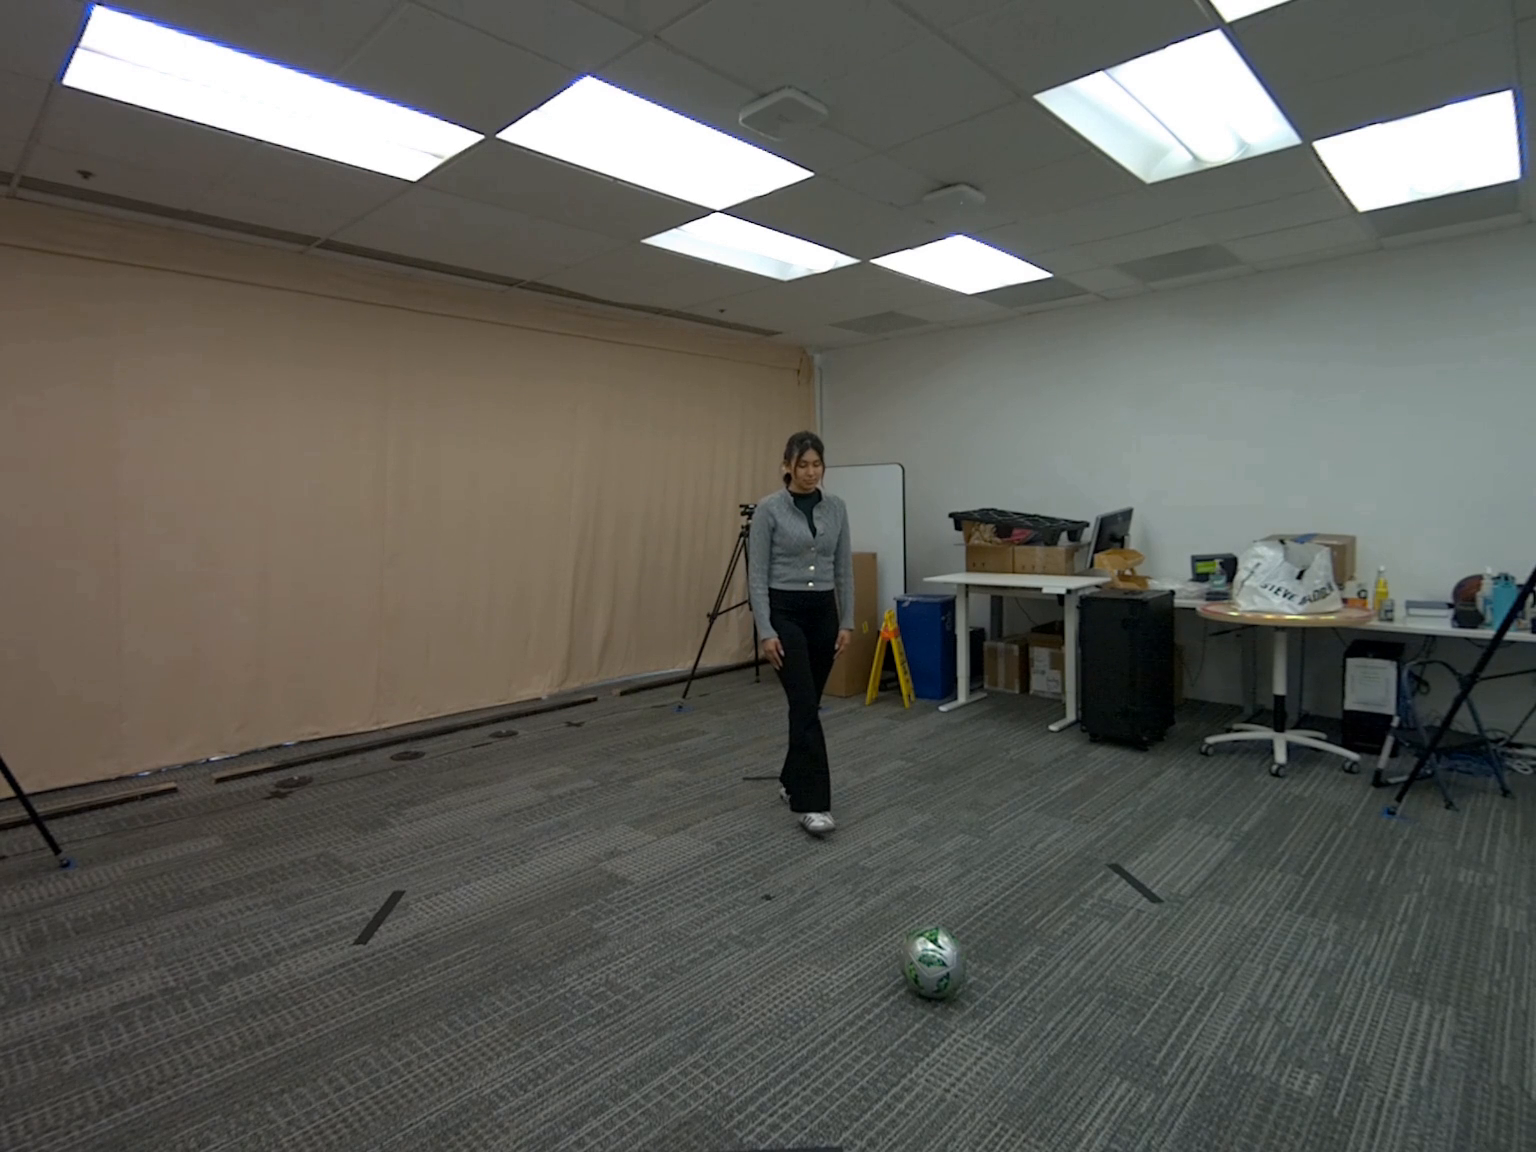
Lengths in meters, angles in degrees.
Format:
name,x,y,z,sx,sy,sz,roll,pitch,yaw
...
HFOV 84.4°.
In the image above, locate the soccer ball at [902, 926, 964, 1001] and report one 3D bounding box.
name,x,y,z,sx,sy,sz,roll,pitch,yaw
soccer ball,0.464,1.088,2.387,0.187,0.187,0.188,-1,4,-2
